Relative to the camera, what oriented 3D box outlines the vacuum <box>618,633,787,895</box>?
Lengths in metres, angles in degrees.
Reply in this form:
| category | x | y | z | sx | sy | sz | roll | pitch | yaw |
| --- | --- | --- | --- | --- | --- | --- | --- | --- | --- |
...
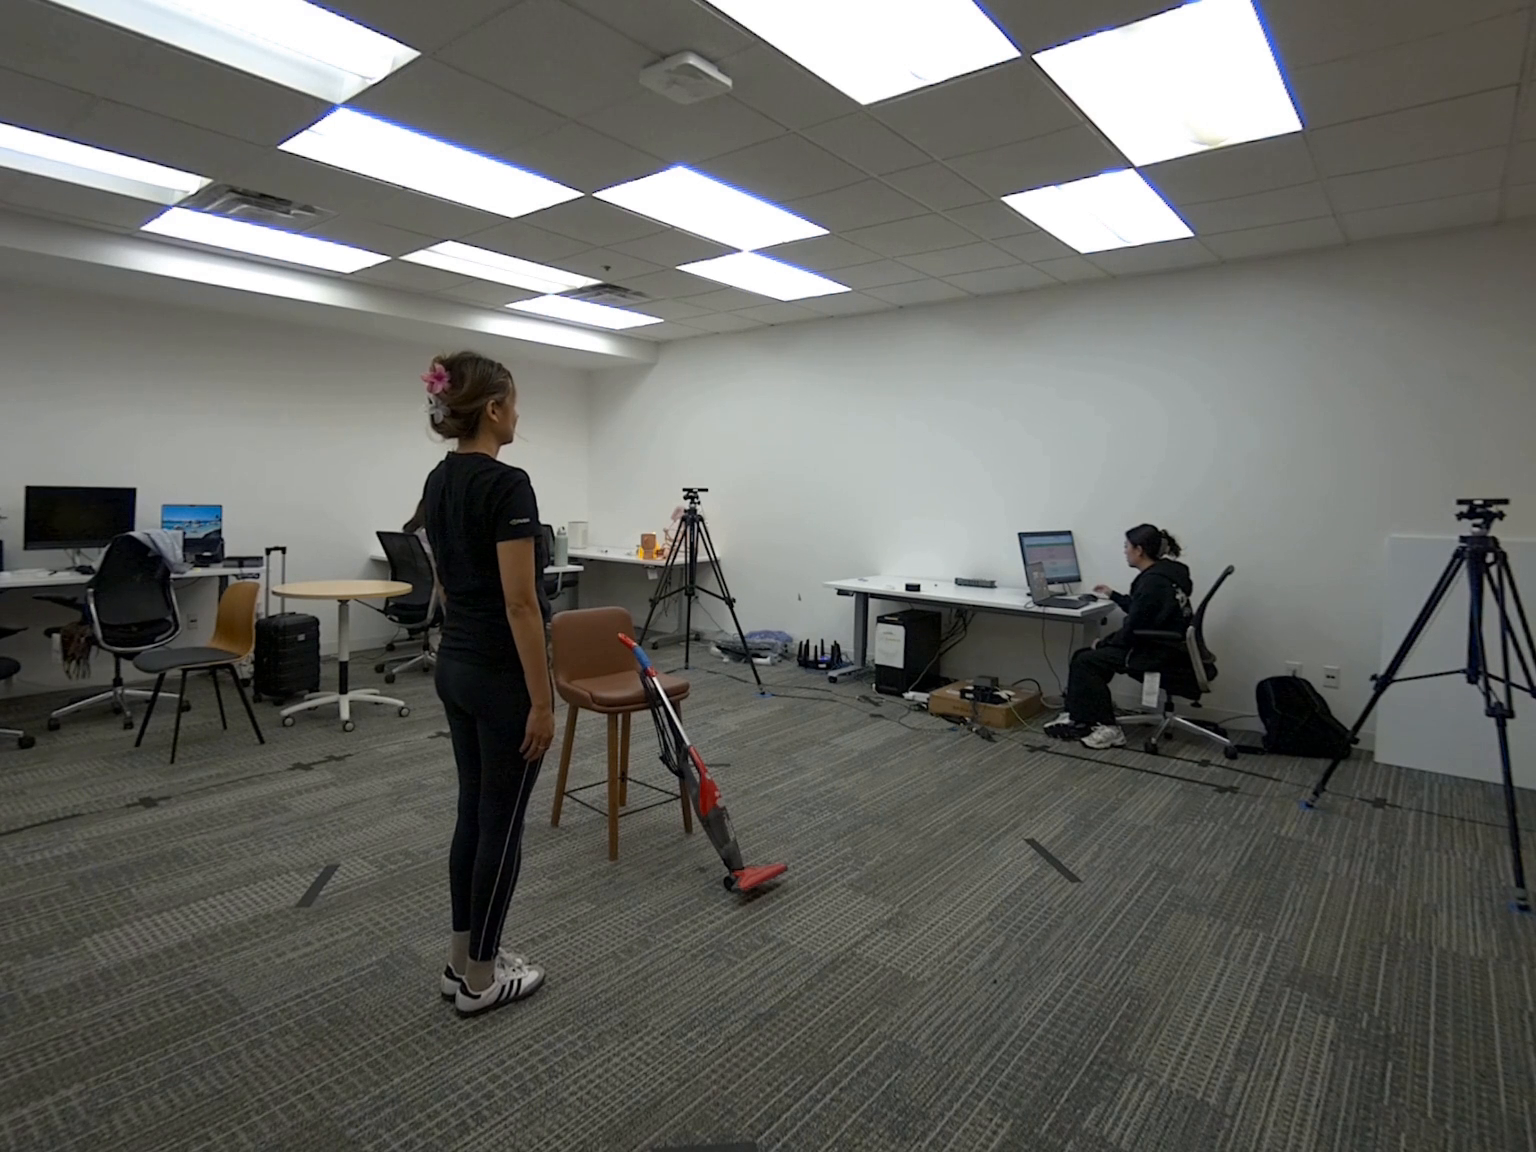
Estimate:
| category | x | y | z | sx | sy | sz | roll | pitch | yaw |
| --- | --- | --- | --- | --- | --- | --- | --- | --- | --- |
| vacuum | -0.320 | 0.655 | 3.168 | 0.245 | 1.082 | 0.144 | 0 | -40 | -51 |
